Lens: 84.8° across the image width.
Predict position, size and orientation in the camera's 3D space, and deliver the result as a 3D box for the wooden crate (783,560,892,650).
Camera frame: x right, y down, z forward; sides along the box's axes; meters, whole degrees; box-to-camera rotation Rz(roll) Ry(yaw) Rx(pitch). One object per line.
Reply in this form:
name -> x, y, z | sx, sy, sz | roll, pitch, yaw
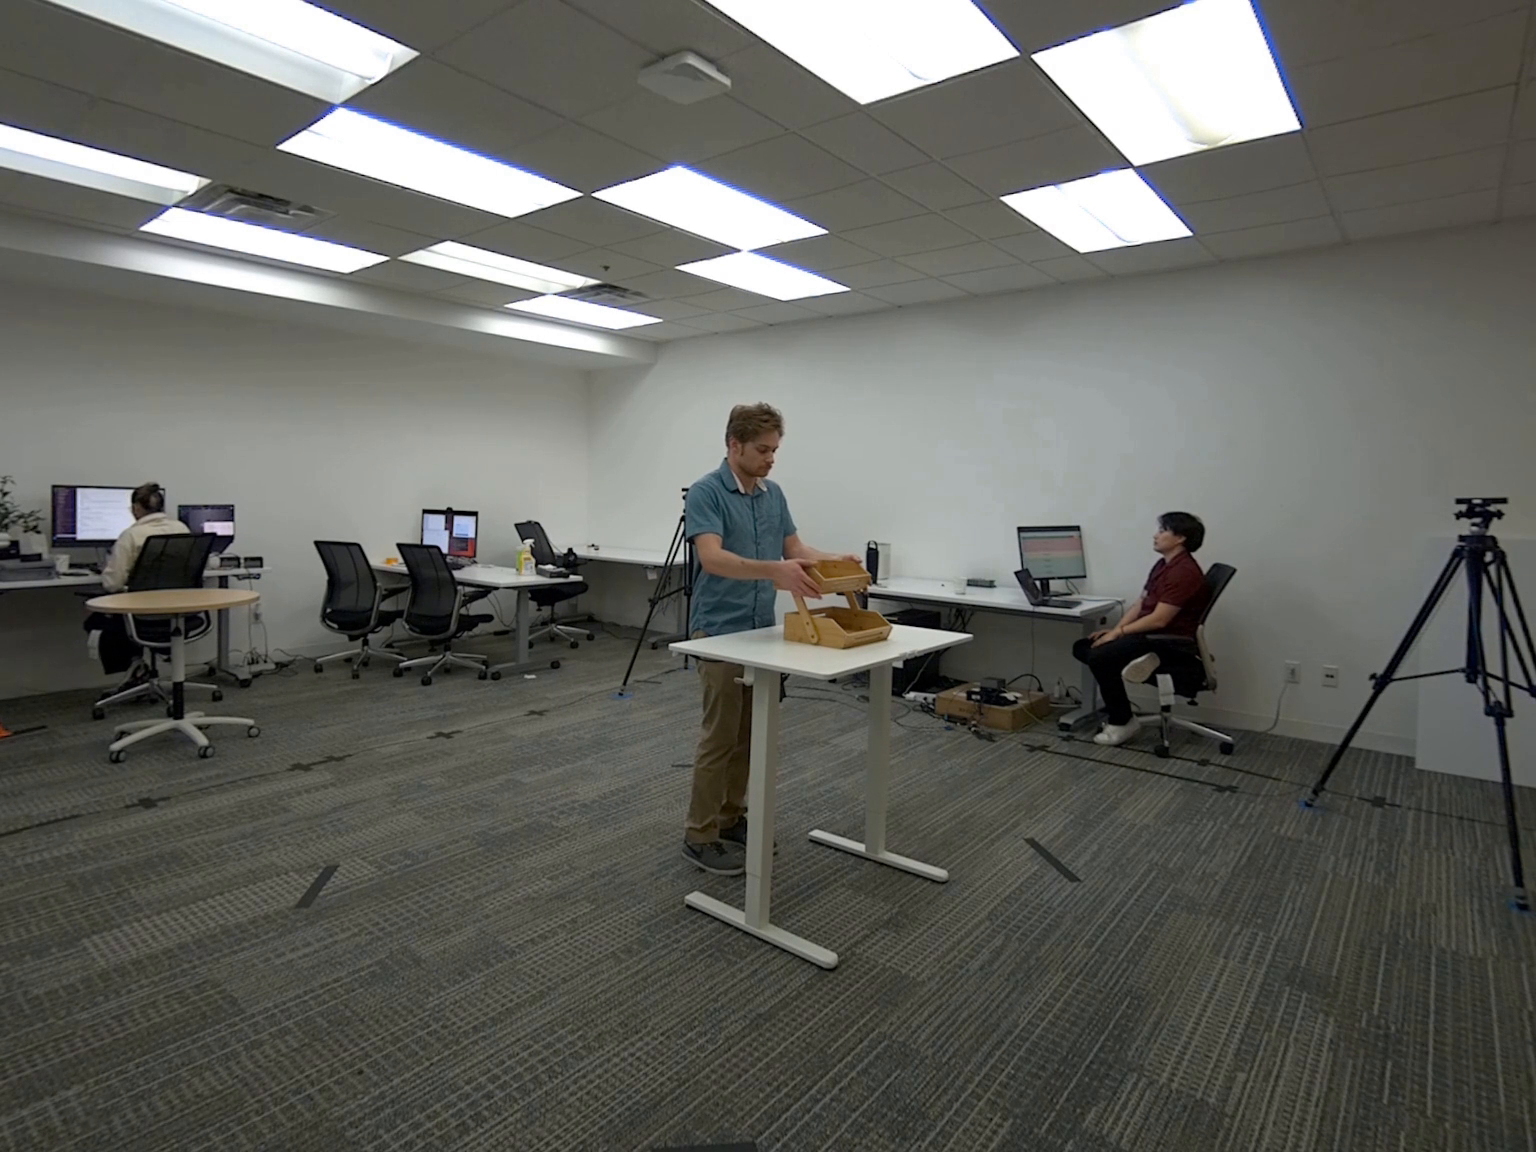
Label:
wooden crate -> 0.221, 0.083, 2.924 | 0.312, 0.272, 0.315 | 4, 5, 39
